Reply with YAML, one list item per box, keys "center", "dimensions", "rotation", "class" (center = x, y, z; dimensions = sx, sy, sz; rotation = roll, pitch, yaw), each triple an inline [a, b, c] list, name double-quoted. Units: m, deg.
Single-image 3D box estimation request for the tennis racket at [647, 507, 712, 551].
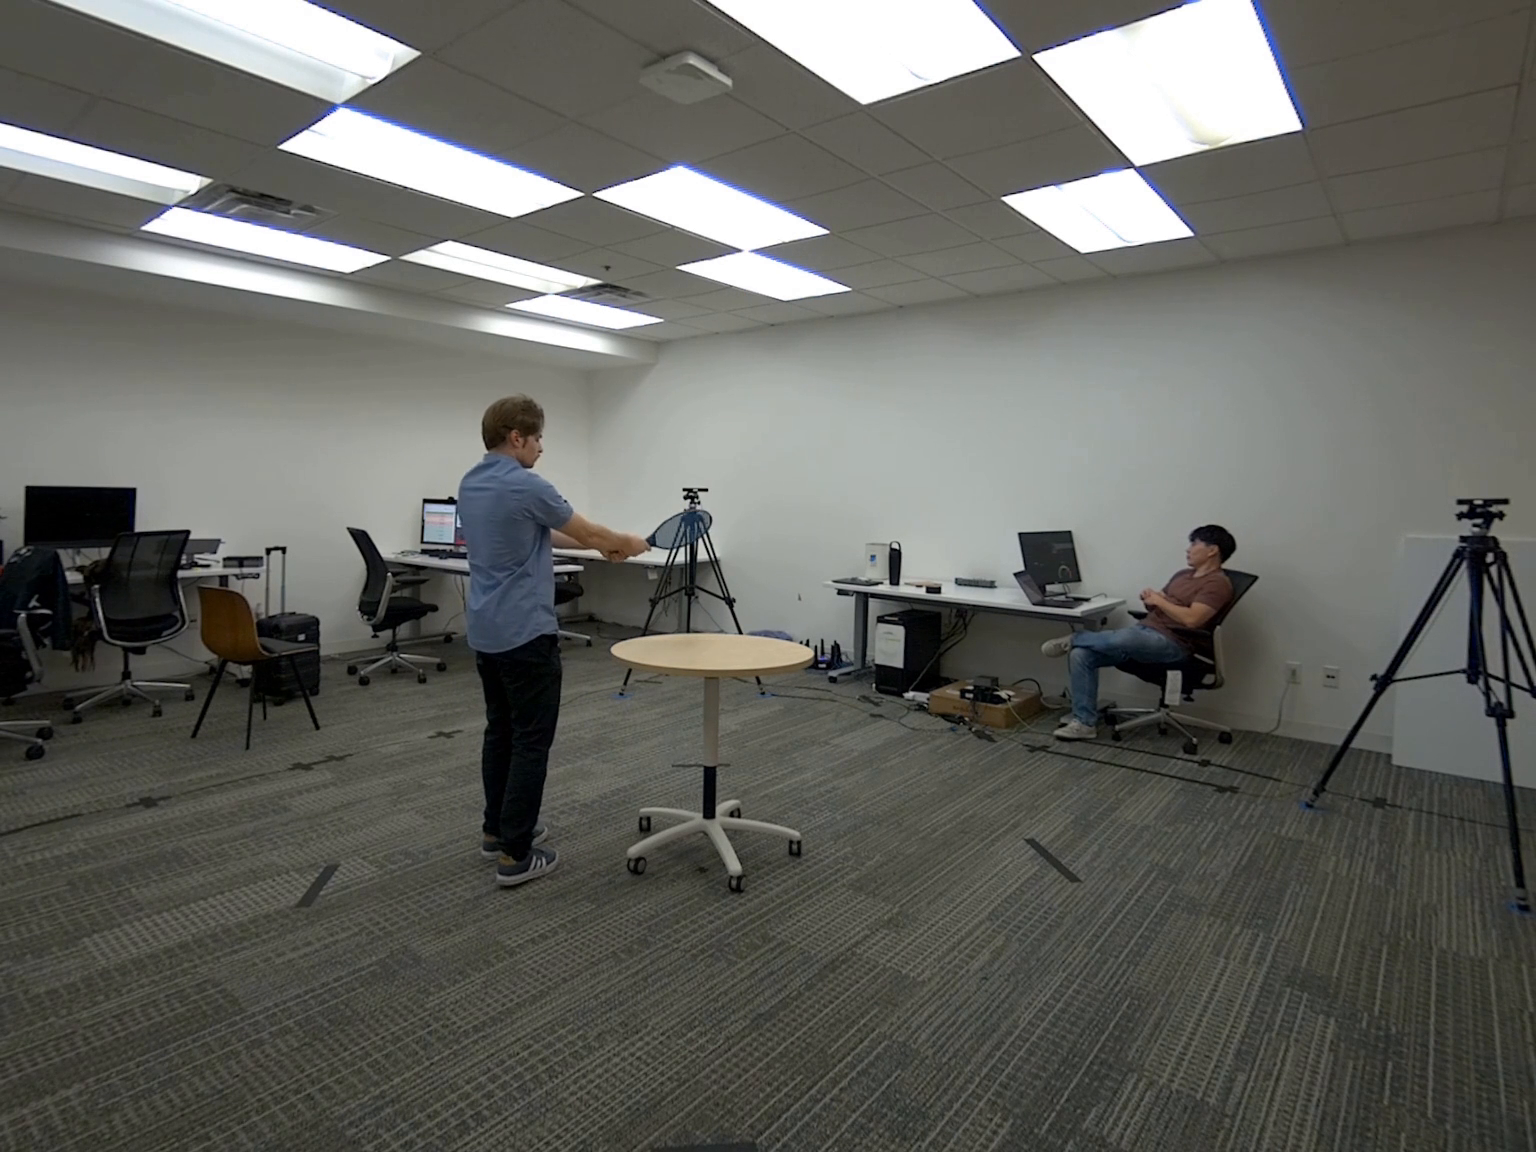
- center: [-0.450, -0.163, 3.493]
  dimensions: [0.429, 0.033, 0.207]
  rotation: [-21, -34, -14]
  class: "tennis racket"
